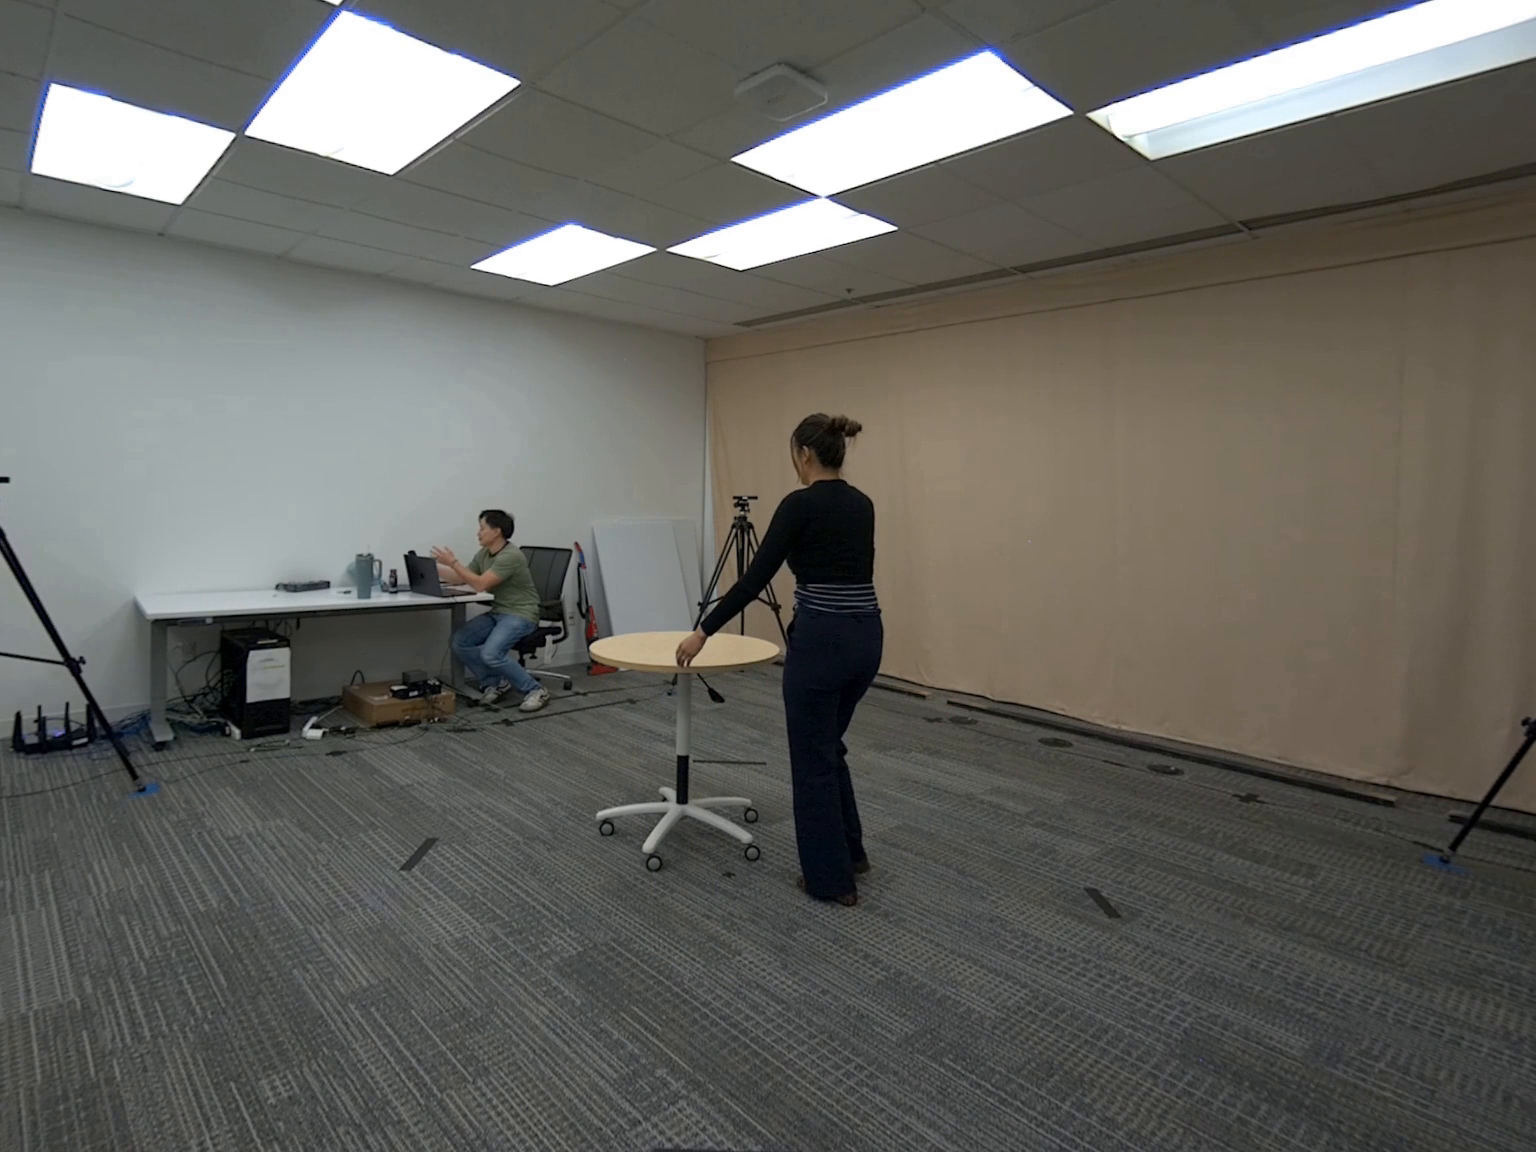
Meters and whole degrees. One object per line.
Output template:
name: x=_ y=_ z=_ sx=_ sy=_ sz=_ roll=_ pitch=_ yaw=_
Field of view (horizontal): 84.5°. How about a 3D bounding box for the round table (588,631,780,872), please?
round table: x=-0.353 y=0.682 z=3.428 sx=0.763 sy=0.792 sz=0.766 roll=1 pitch=4 yaw=-1
